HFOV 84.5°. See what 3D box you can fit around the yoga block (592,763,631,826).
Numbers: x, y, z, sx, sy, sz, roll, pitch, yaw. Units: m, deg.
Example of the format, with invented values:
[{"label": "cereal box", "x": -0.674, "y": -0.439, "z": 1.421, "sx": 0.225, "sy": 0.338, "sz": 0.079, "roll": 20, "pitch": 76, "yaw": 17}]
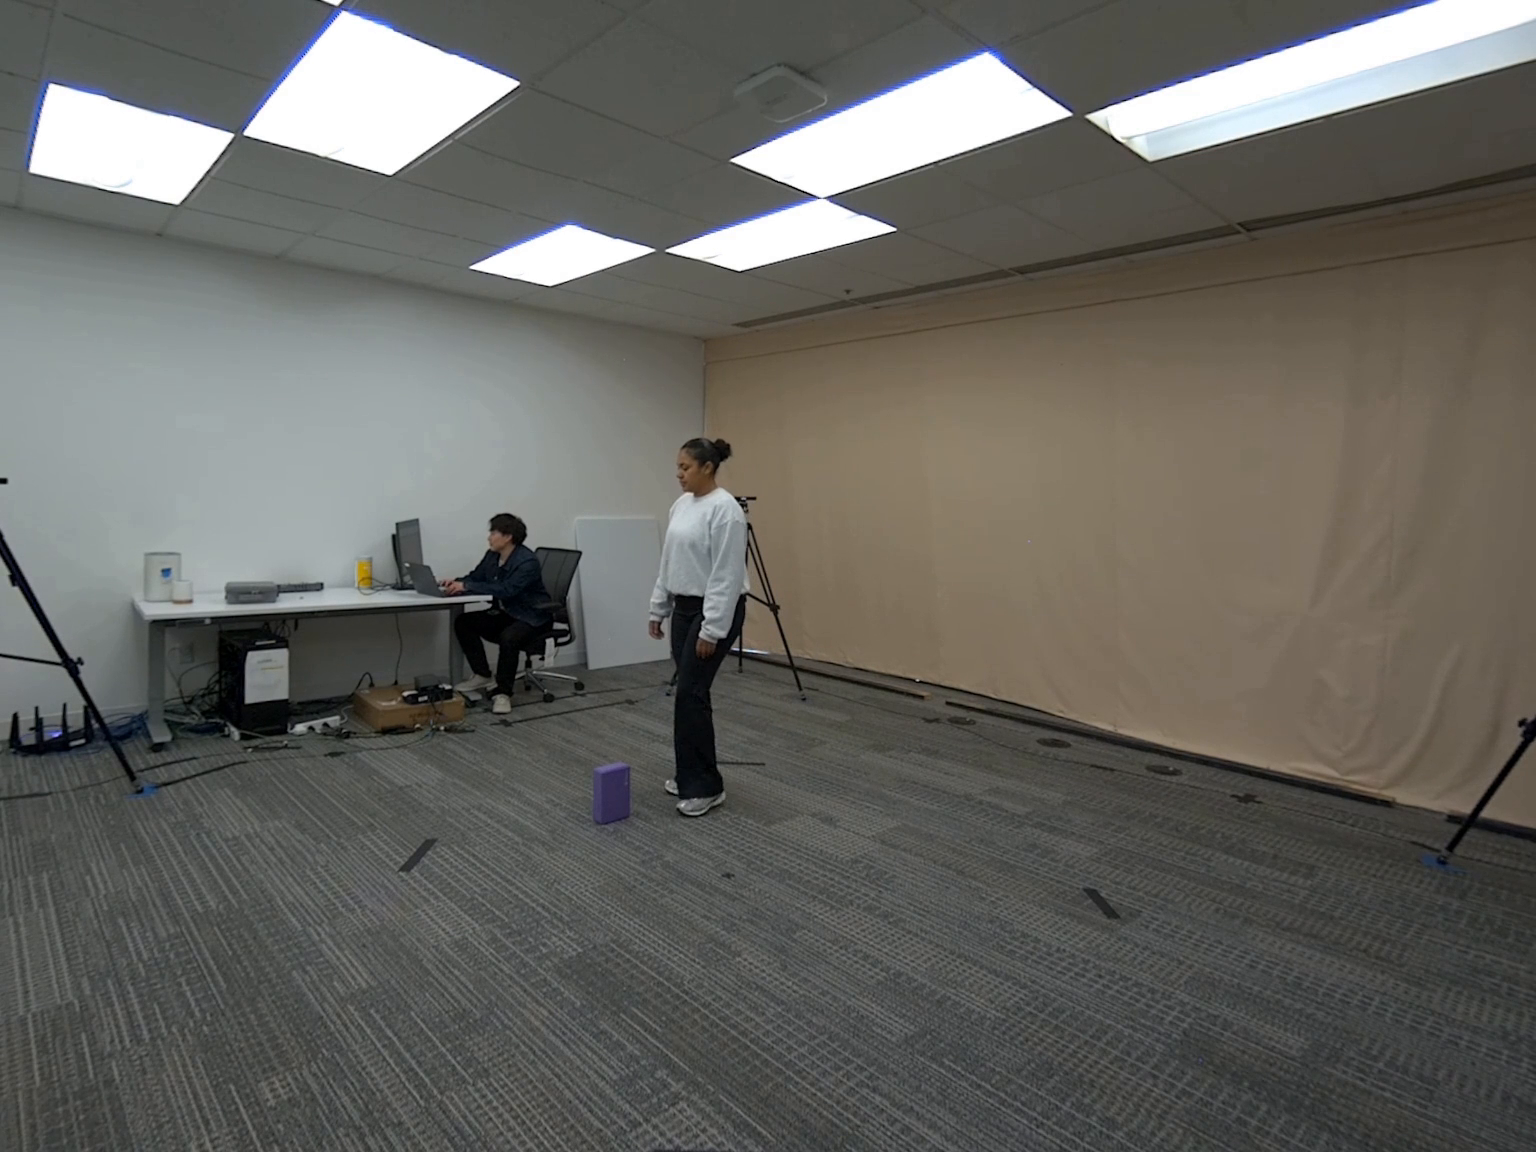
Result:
[{"label": "yoga block", "x": -0.678, "y": 0.930, "z": 3.617, "sx": 0.145, "sy": 0.228, "sz": 0.078, "roll": -3, "pitch": 6, "yaw": -44}]
